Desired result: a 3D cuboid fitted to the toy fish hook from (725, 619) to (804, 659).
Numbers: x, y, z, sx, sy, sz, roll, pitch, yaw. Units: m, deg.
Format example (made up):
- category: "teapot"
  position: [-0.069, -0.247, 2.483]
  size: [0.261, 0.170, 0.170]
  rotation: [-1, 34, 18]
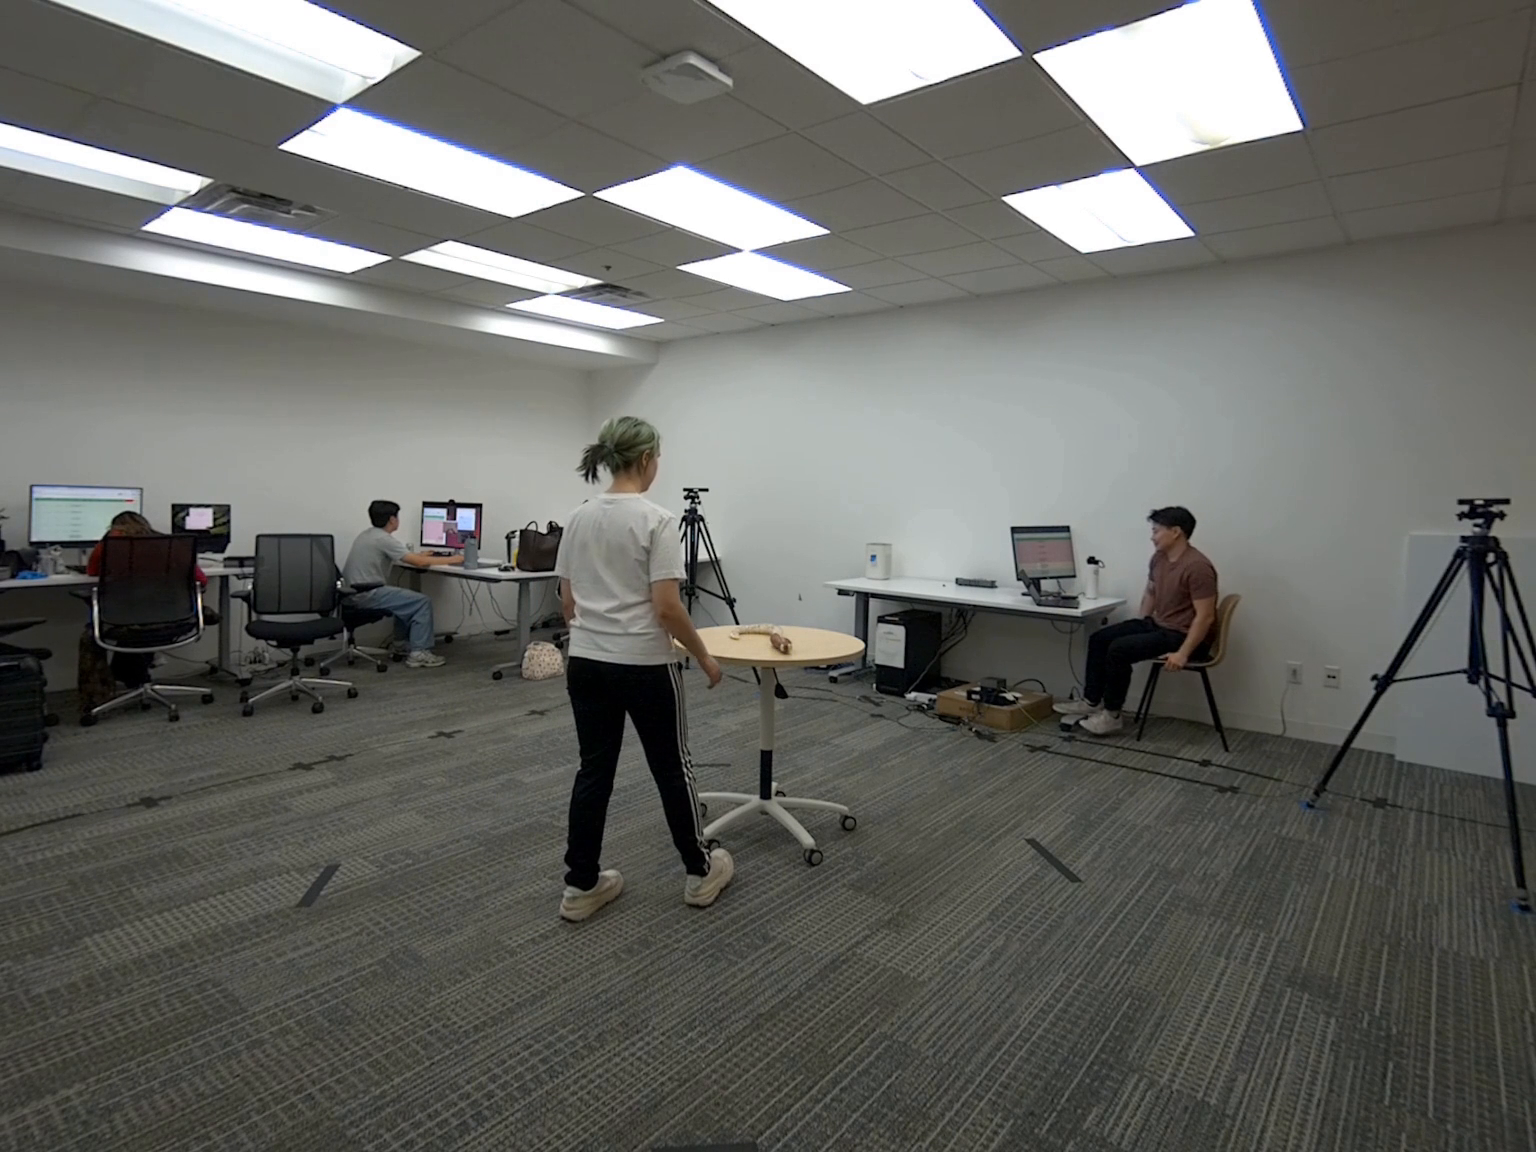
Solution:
- category: "toy fish hook"
  position: [-0.027, 0.246, 3.381]
  size: [0.223, 0.048, 0.513]
  rotation: [-7, 6, -9]
